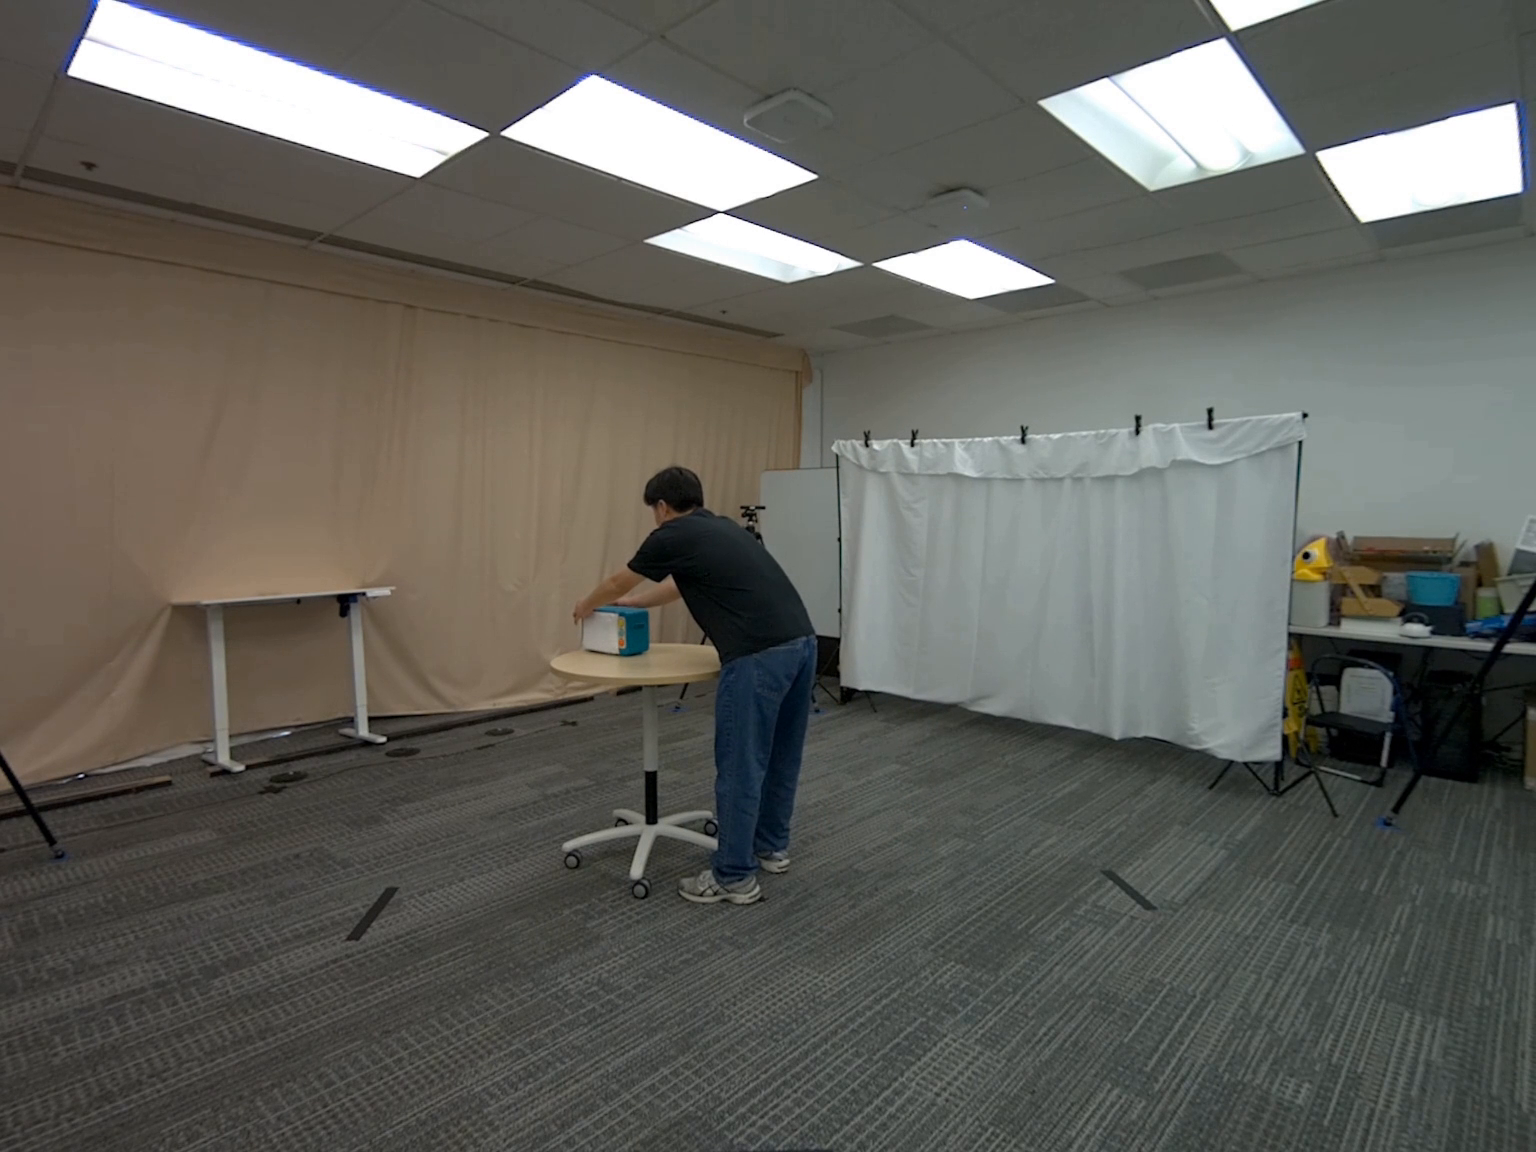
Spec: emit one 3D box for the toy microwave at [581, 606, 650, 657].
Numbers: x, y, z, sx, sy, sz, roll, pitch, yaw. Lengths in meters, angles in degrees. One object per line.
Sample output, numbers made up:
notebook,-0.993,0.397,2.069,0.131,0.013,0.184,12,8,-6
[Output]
toy microwave,-0.638,0.225,3.469,0.295,0.184,0.148,3,4,38
